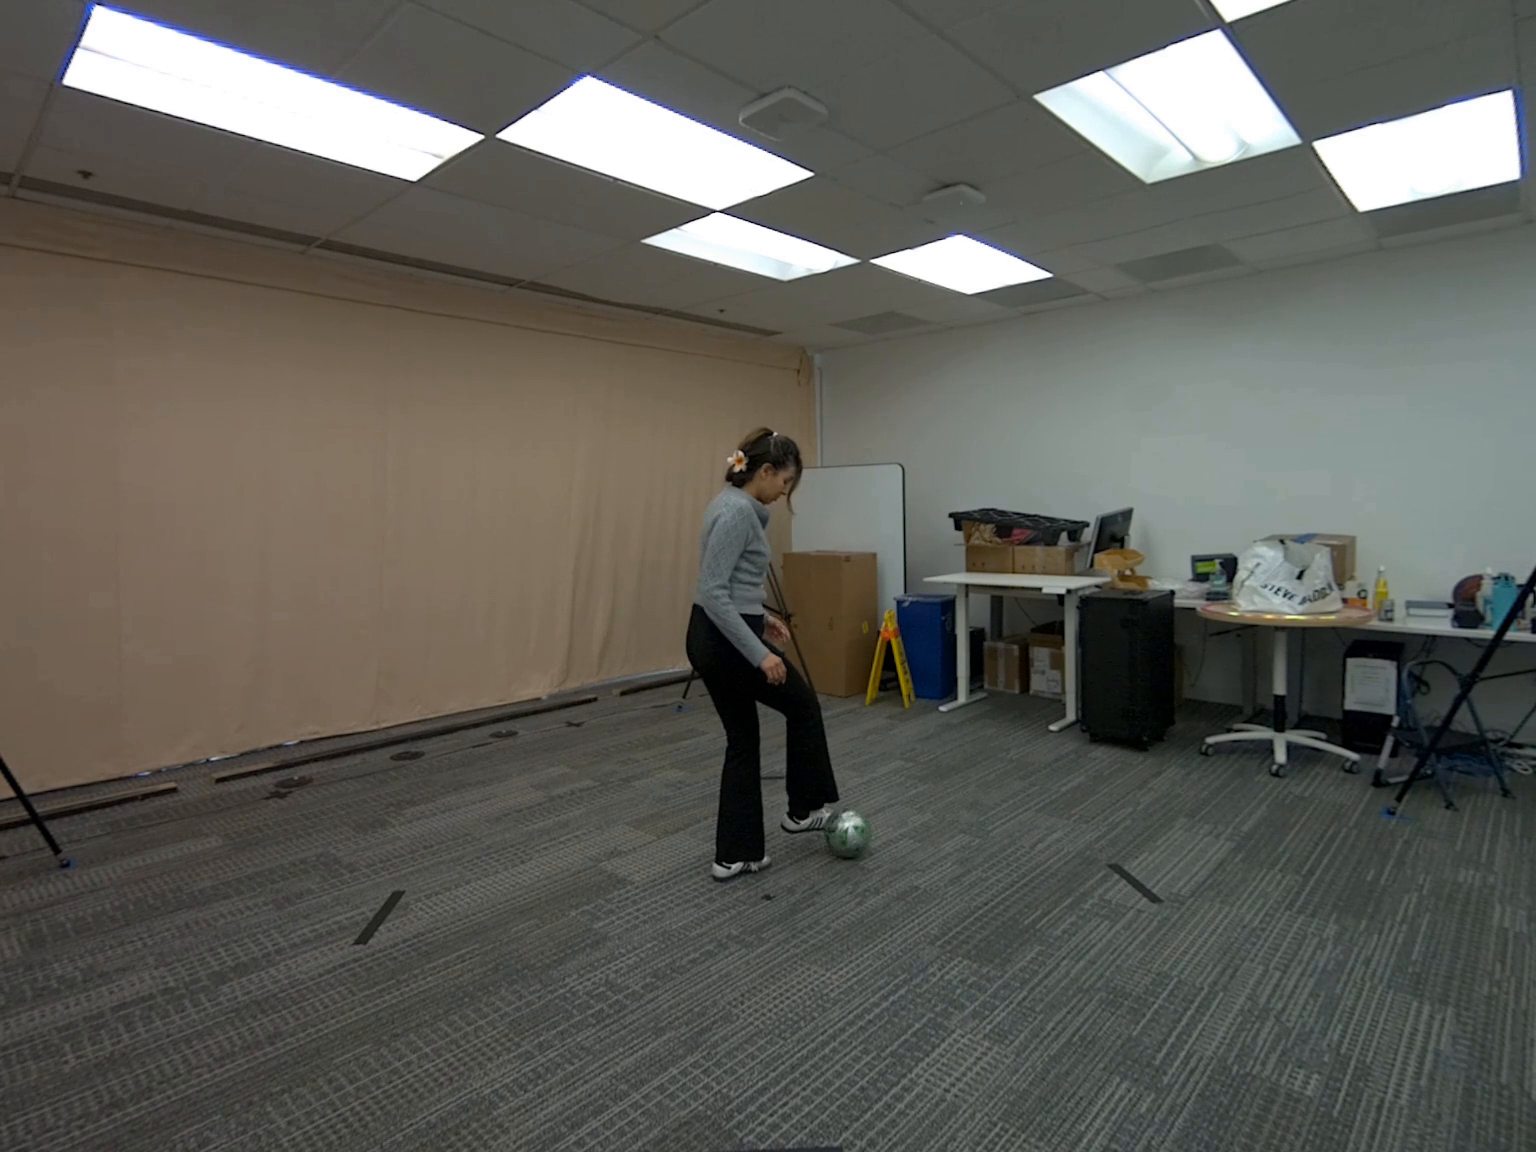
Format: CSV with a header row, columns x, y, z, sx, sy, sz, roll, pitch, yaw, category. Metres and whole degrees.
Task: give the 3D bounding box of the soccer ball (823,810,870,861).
x,y,z,sx,sy,sz,roll,pitch,yaw,category
0.331,1.010,3.297,0.187,0.187,0.188,-1,4,-2,soccer ball
